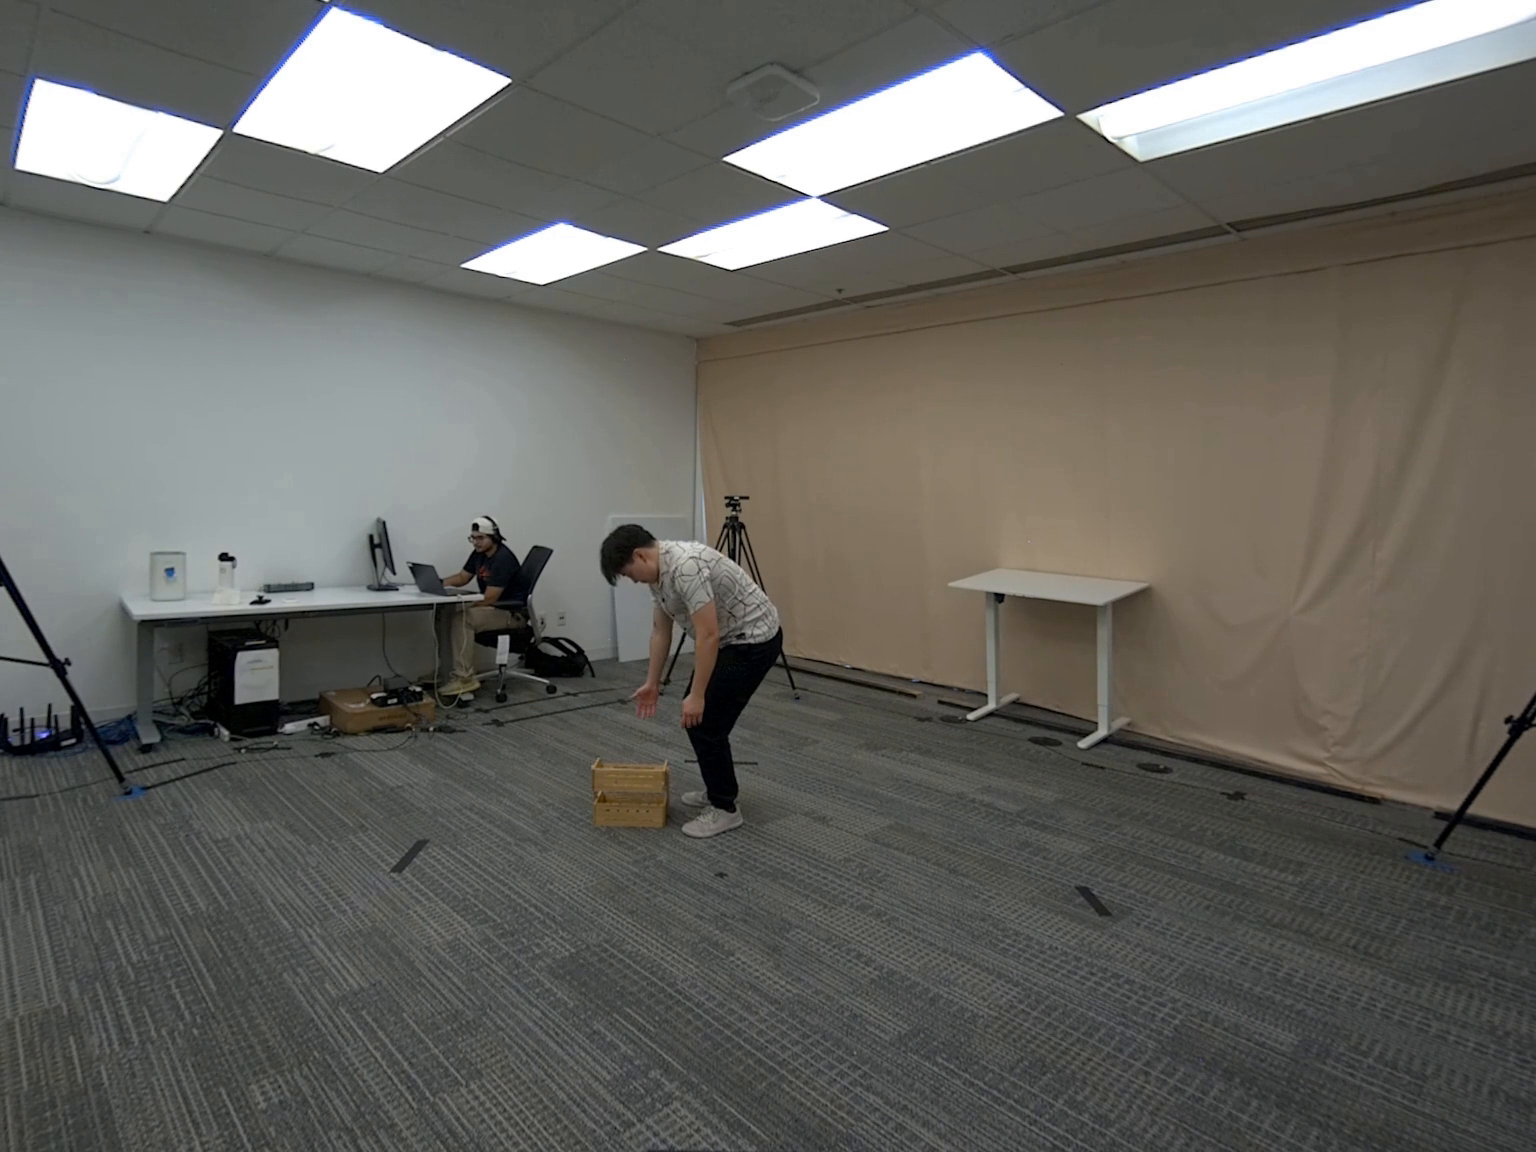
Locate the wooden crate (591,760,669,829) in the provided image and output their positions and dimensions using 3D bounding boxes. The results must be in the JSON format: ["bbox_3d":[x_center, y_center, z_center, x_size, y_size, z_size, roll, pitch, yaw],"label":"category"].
[{"bbox_3d":[-0.590,0.911,3.634,0.324,0.272,0.303,2,4,-2],"label":"wooden crate"}]
